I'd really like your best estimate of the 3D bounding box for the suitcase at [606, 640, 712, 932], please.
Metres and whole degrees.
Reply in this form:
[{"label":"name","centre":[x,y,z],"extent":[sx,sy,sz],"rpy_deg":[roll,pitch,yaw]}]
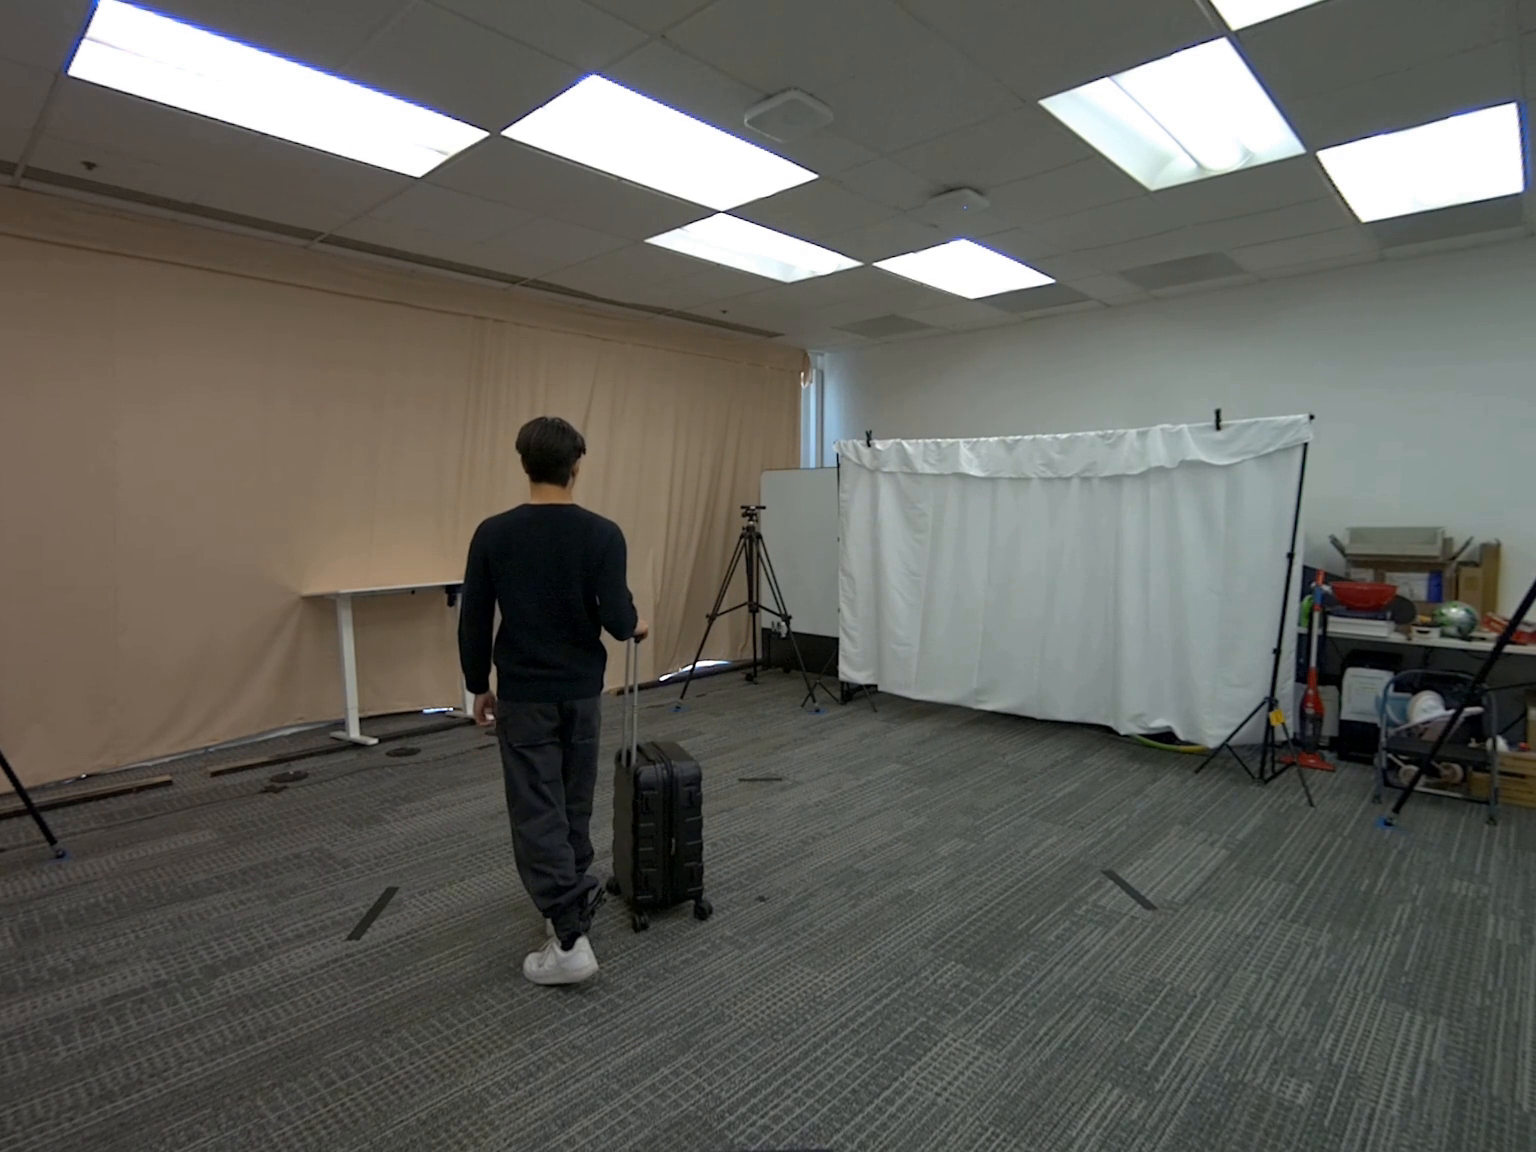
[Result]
[{"label":"suitcase","centre":[-0.380,0.669,2.947],"extent":[0.252,0.978,0.392],"rpy_deg":[1,2,-20]}]
